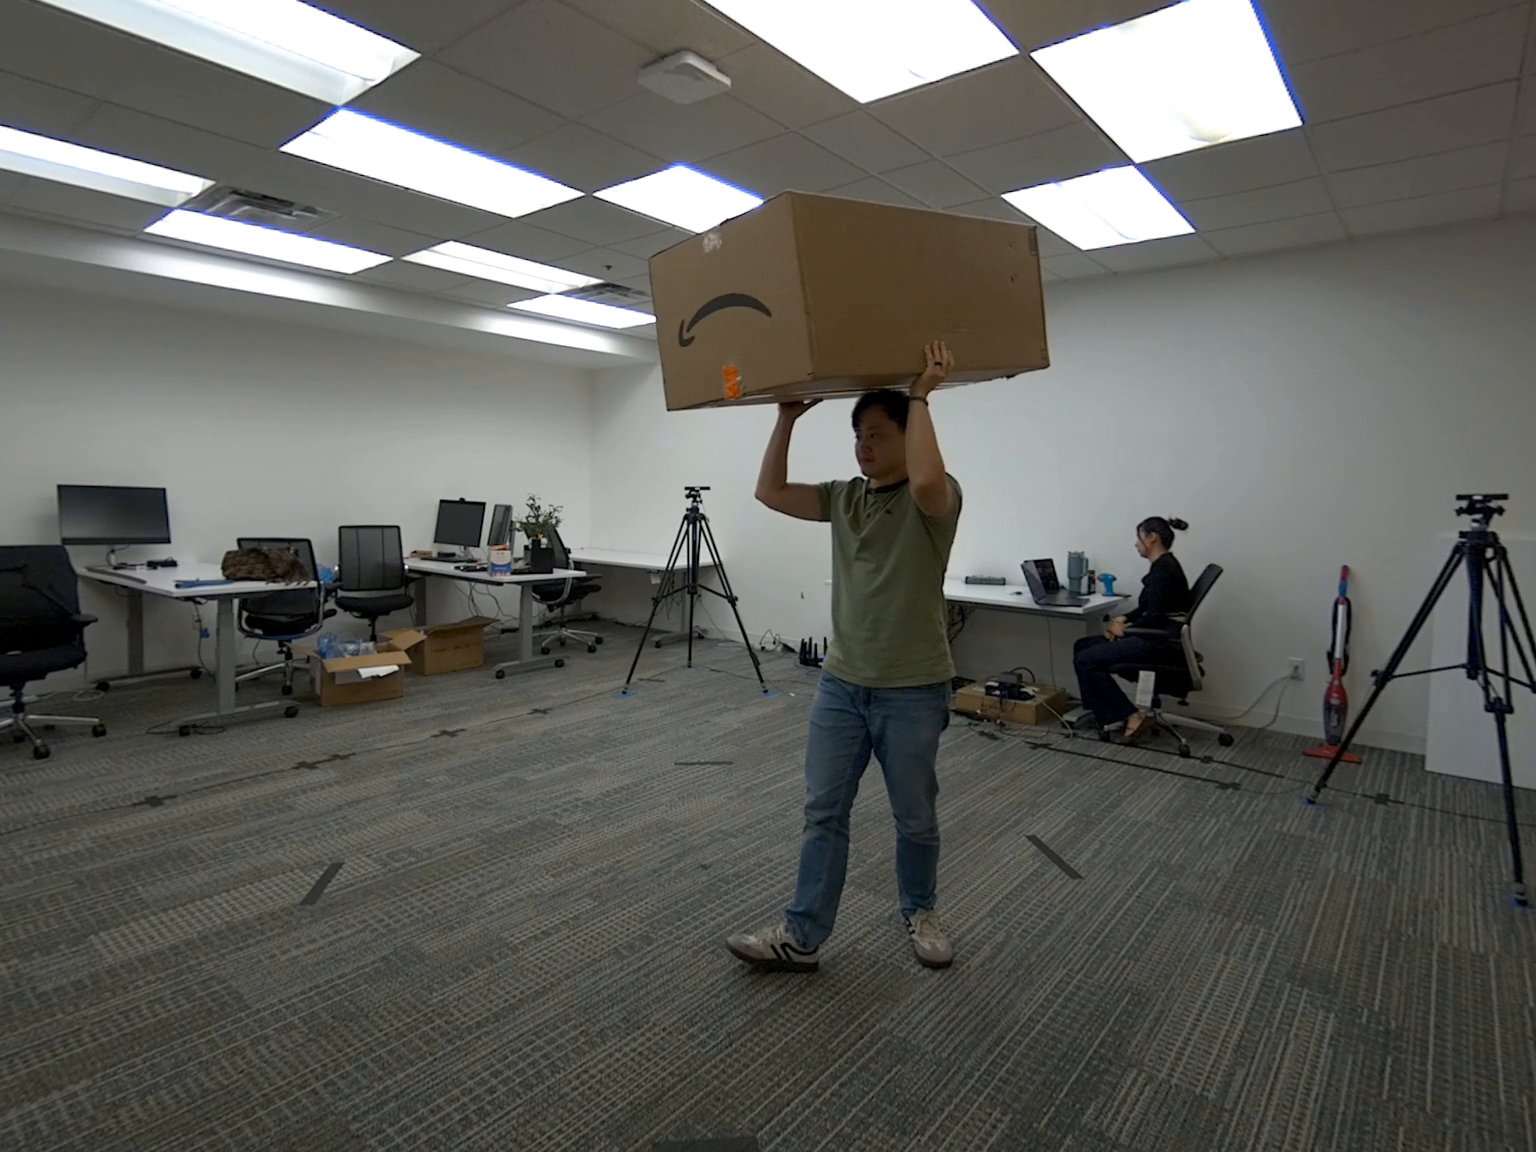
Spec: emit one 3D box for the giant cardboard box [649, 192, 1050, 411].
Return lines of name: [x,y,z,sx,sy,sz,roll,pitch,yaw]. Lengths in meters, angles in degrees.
giant cardboard box: [0.243,-0.745,2.439,1.001,0.423,0.596,-14,10,-39]
